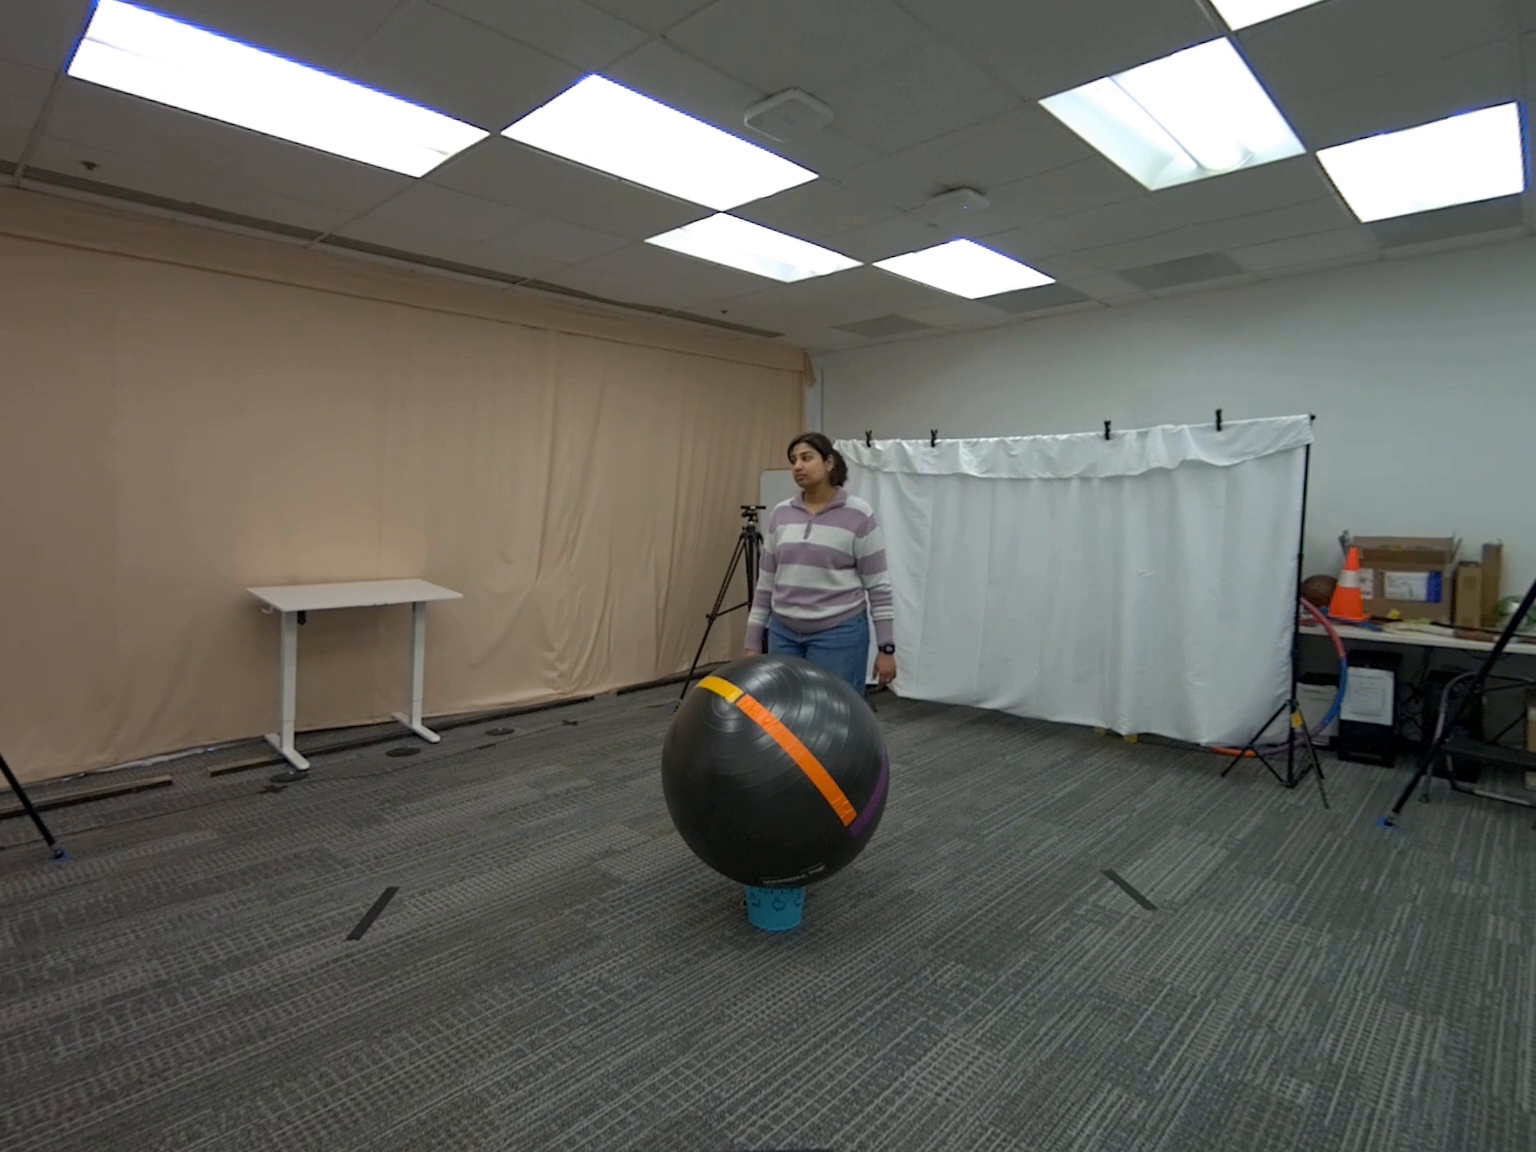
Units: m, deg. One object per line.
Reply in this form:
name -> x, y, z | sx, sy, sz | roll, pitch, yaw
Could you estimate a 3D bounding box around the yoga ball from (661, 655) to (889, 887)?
yoga ball -> 0.024, 0.644, 2.826 | 0.757, 0.756, 0.760 | 0, 4, -2
